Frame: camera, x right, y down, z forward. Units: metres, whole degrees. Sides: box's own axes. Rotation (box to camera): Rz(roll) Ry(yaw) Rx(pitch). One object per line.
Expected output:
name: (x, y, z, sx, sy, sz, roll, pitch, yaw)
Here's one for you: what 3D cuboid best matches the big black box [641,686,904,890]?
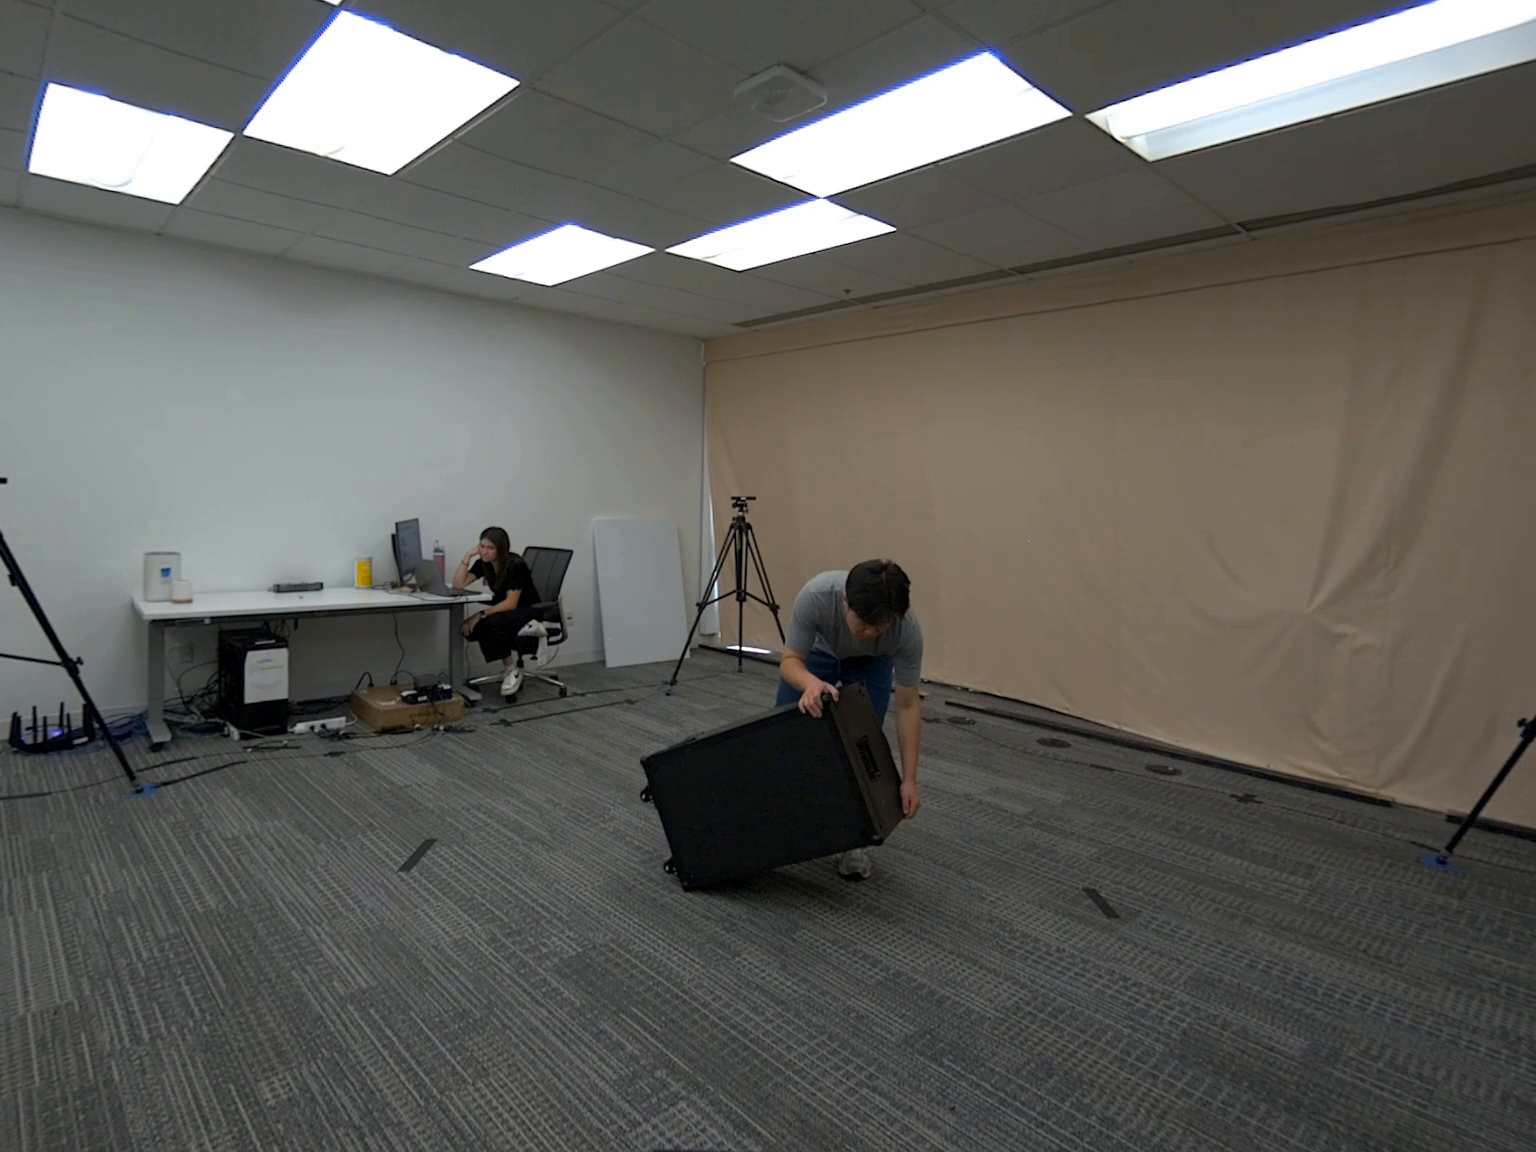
big black box: (-0.013, 0.748, 3.006, 0.870, 0.526, 0.389, -23, -9, 26)
